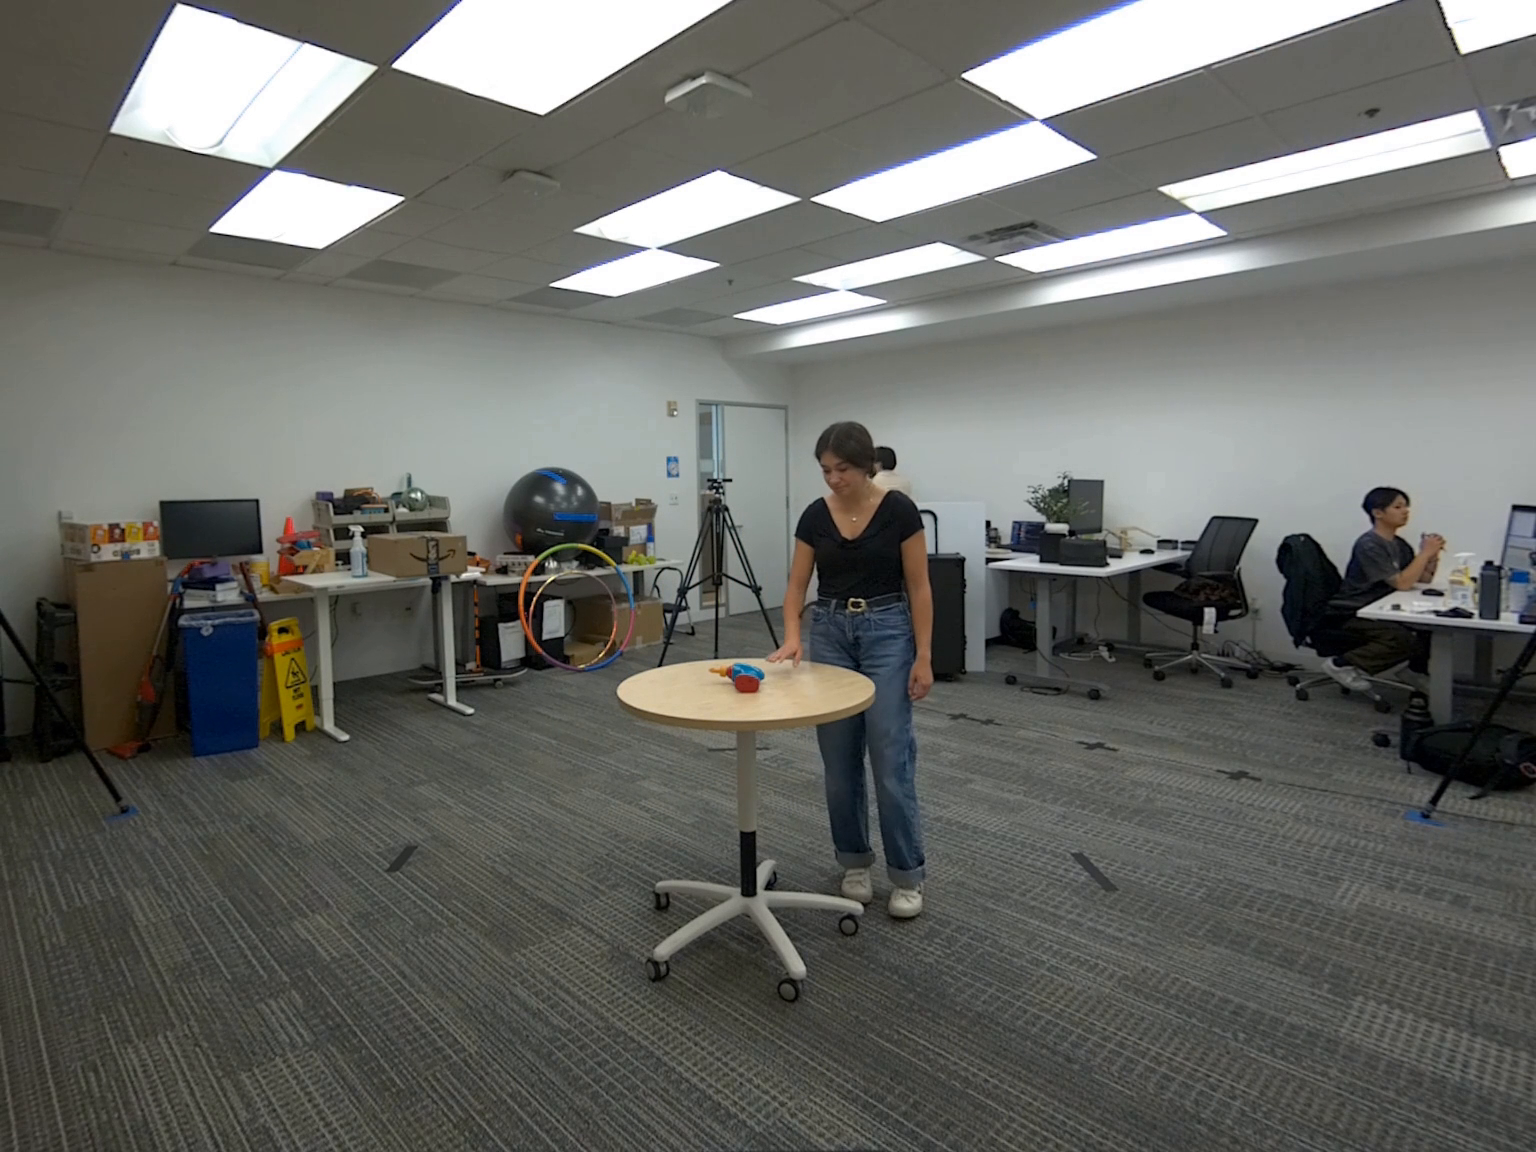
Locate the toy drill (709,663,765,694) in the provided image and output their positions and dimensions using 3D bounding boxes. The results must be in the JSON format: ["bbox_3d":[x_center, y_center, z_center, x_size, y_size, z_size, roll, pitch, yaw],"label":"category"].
[{"bbox_3d":[-0.092,0.298,2.534,0.170,0.061,0.146,8,7,2],"label":"toy drill"}]
